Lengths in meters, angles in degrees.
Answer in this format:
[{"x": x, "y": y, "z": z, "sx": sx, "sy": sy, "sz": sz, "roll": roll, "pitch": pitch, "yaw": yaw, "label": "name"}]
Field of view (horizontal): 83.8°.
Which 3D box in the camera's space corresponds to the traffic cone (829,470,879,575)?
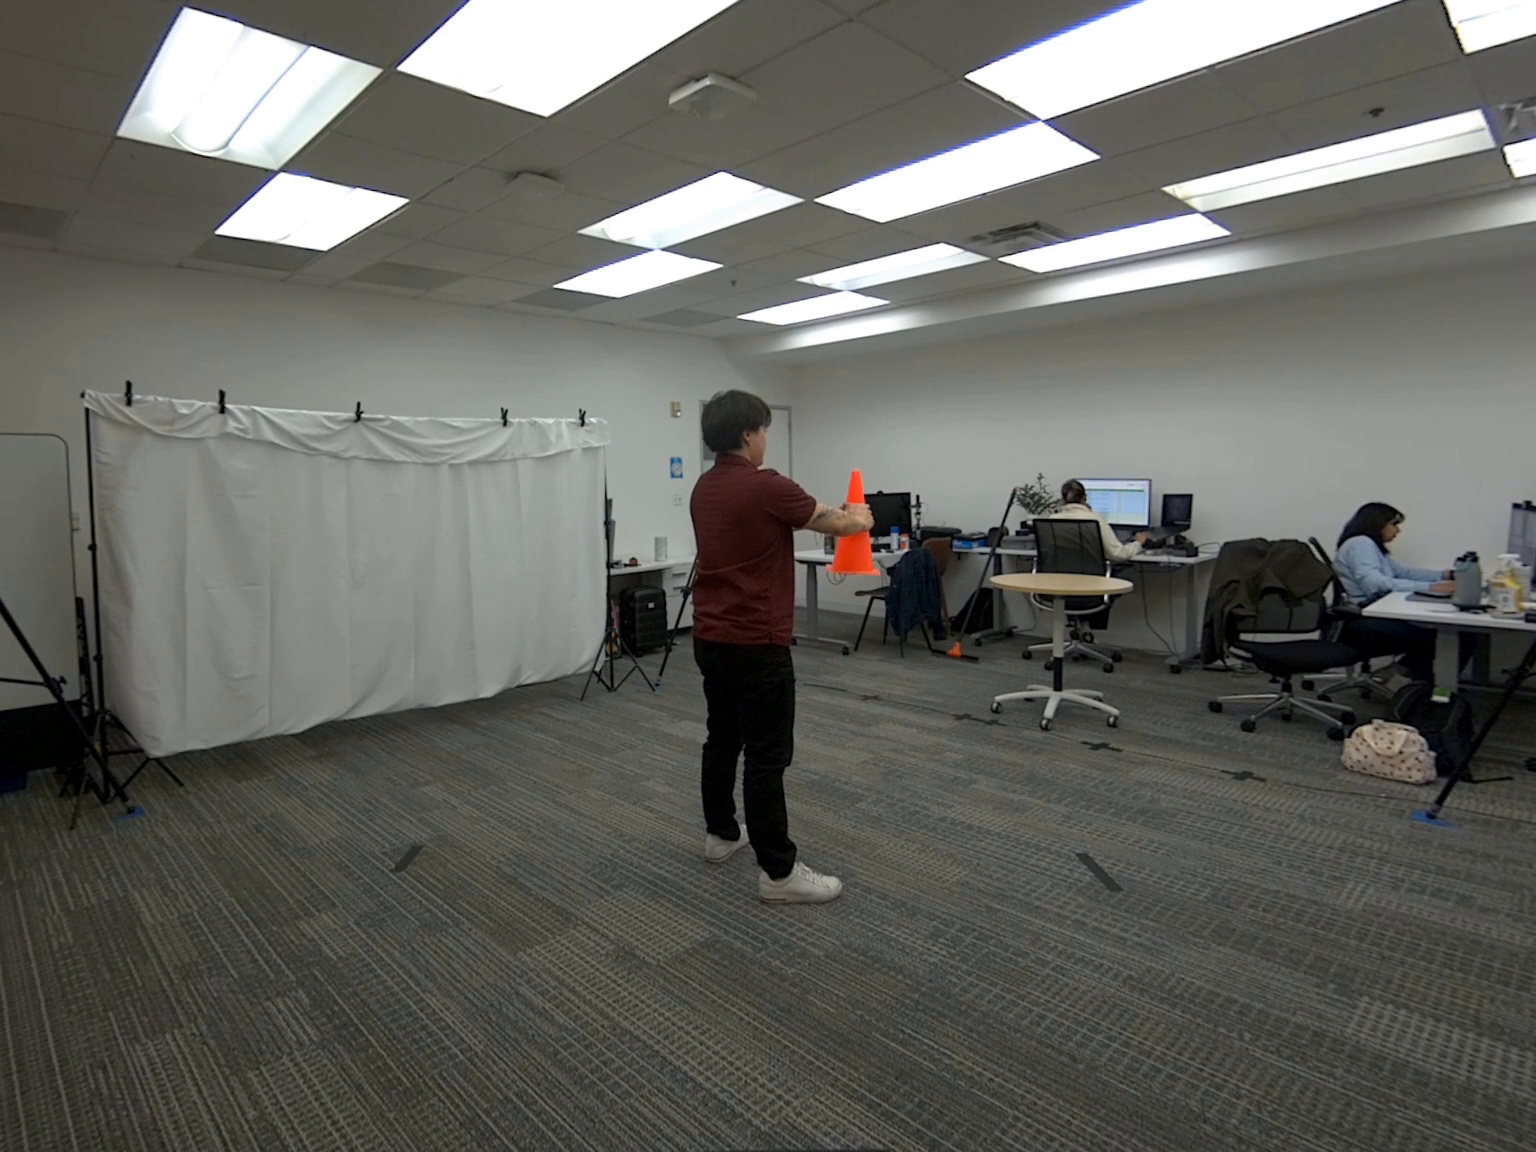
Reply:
[{"x": 0.342, "y": -0.216, "z": 3.258, "sx": 0.205, "sy": 0.381, "sz": 0.204, "roll": 2, "pitch": 8, "yaw": 1, "label": "traffic cone"}]
